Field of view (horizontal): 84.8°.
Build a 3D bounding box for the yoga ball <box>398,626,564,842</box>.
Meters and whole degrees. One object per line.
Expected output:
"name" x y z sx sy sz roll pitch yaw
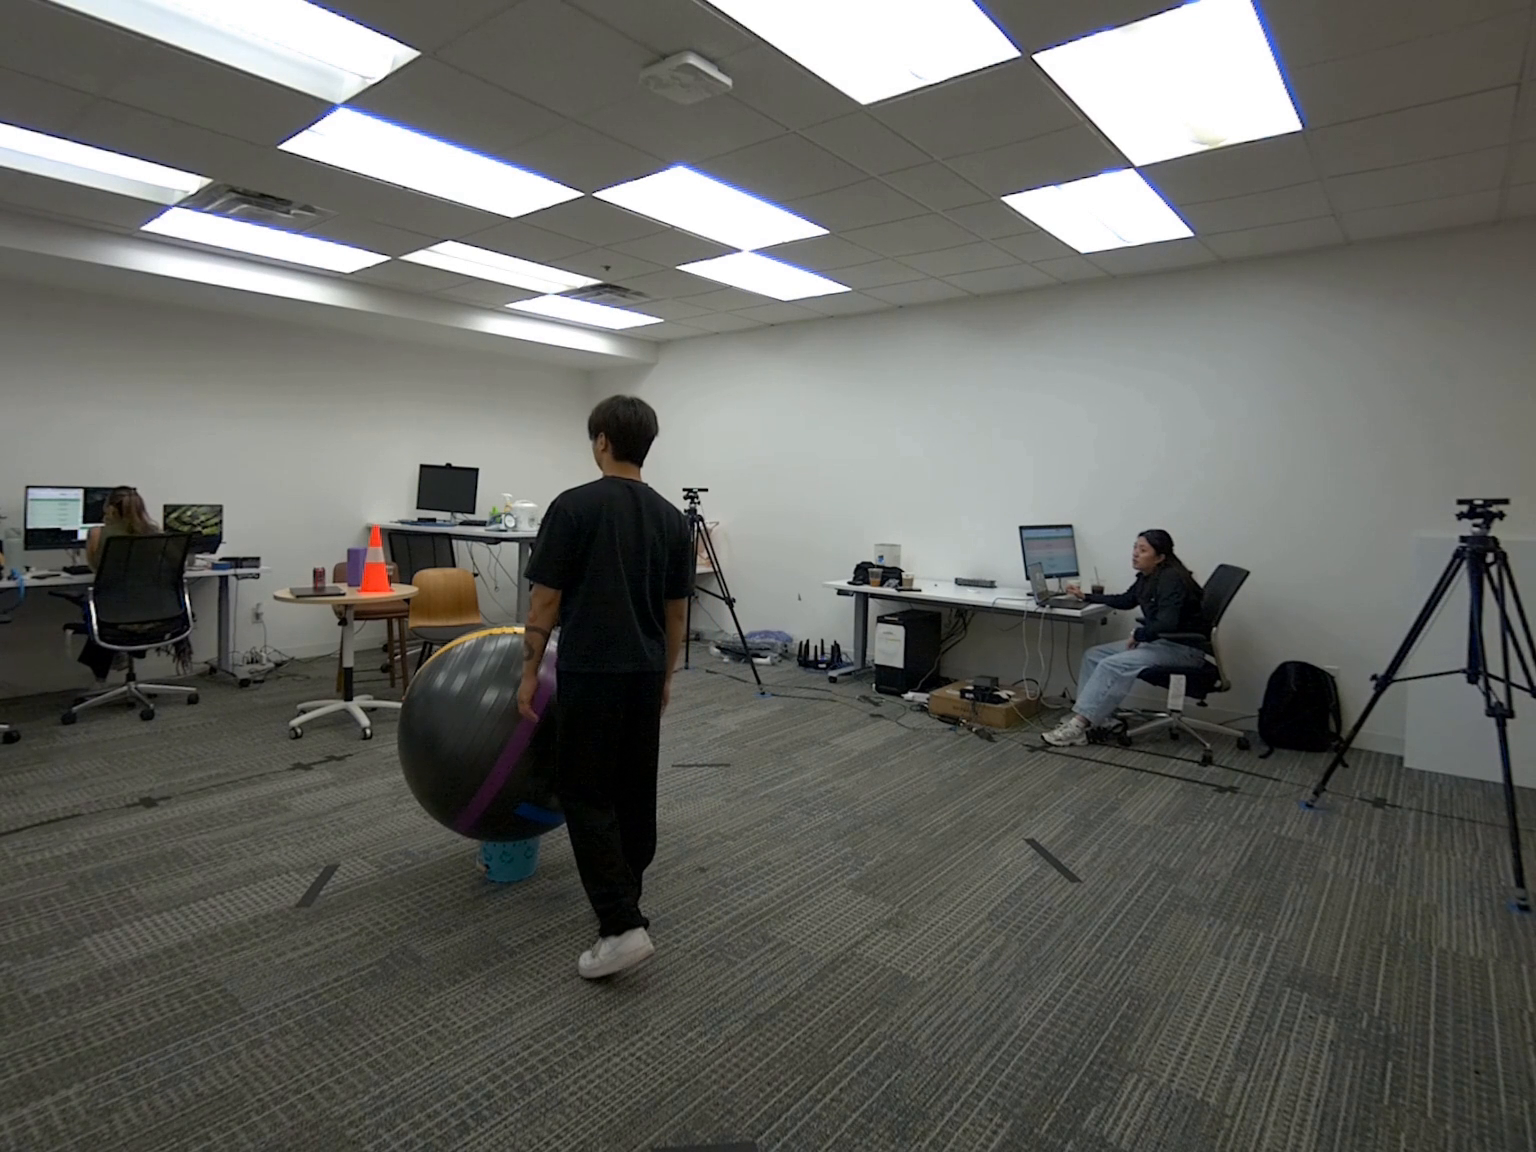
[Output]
"yoga ball" -0.938 0.555 3.046 0.757 0.755 0.762 1 4 -2
